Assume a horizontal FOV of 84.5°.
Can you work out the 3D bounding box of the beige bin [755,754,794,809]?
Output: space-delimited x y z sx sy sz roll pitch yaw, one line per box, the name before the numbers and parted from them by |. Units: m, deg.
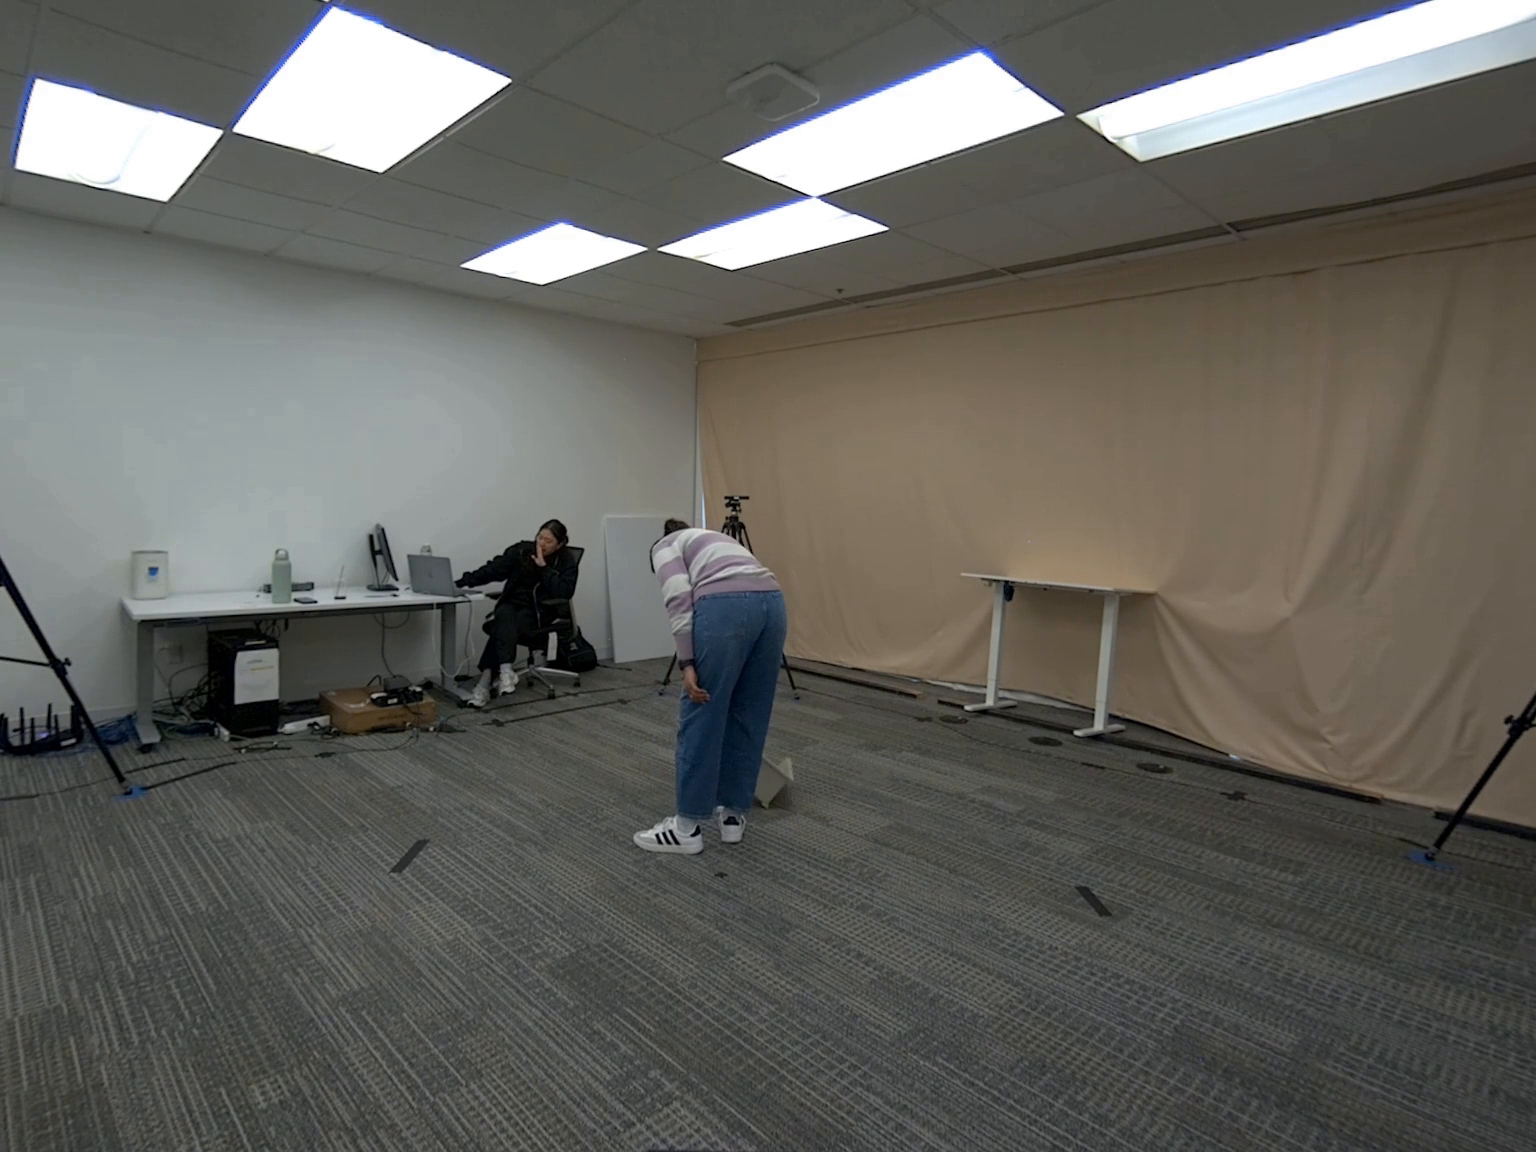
beige bin | -0.114 0.840 3.951 0.422 0.189 0.378 38 5 -1
